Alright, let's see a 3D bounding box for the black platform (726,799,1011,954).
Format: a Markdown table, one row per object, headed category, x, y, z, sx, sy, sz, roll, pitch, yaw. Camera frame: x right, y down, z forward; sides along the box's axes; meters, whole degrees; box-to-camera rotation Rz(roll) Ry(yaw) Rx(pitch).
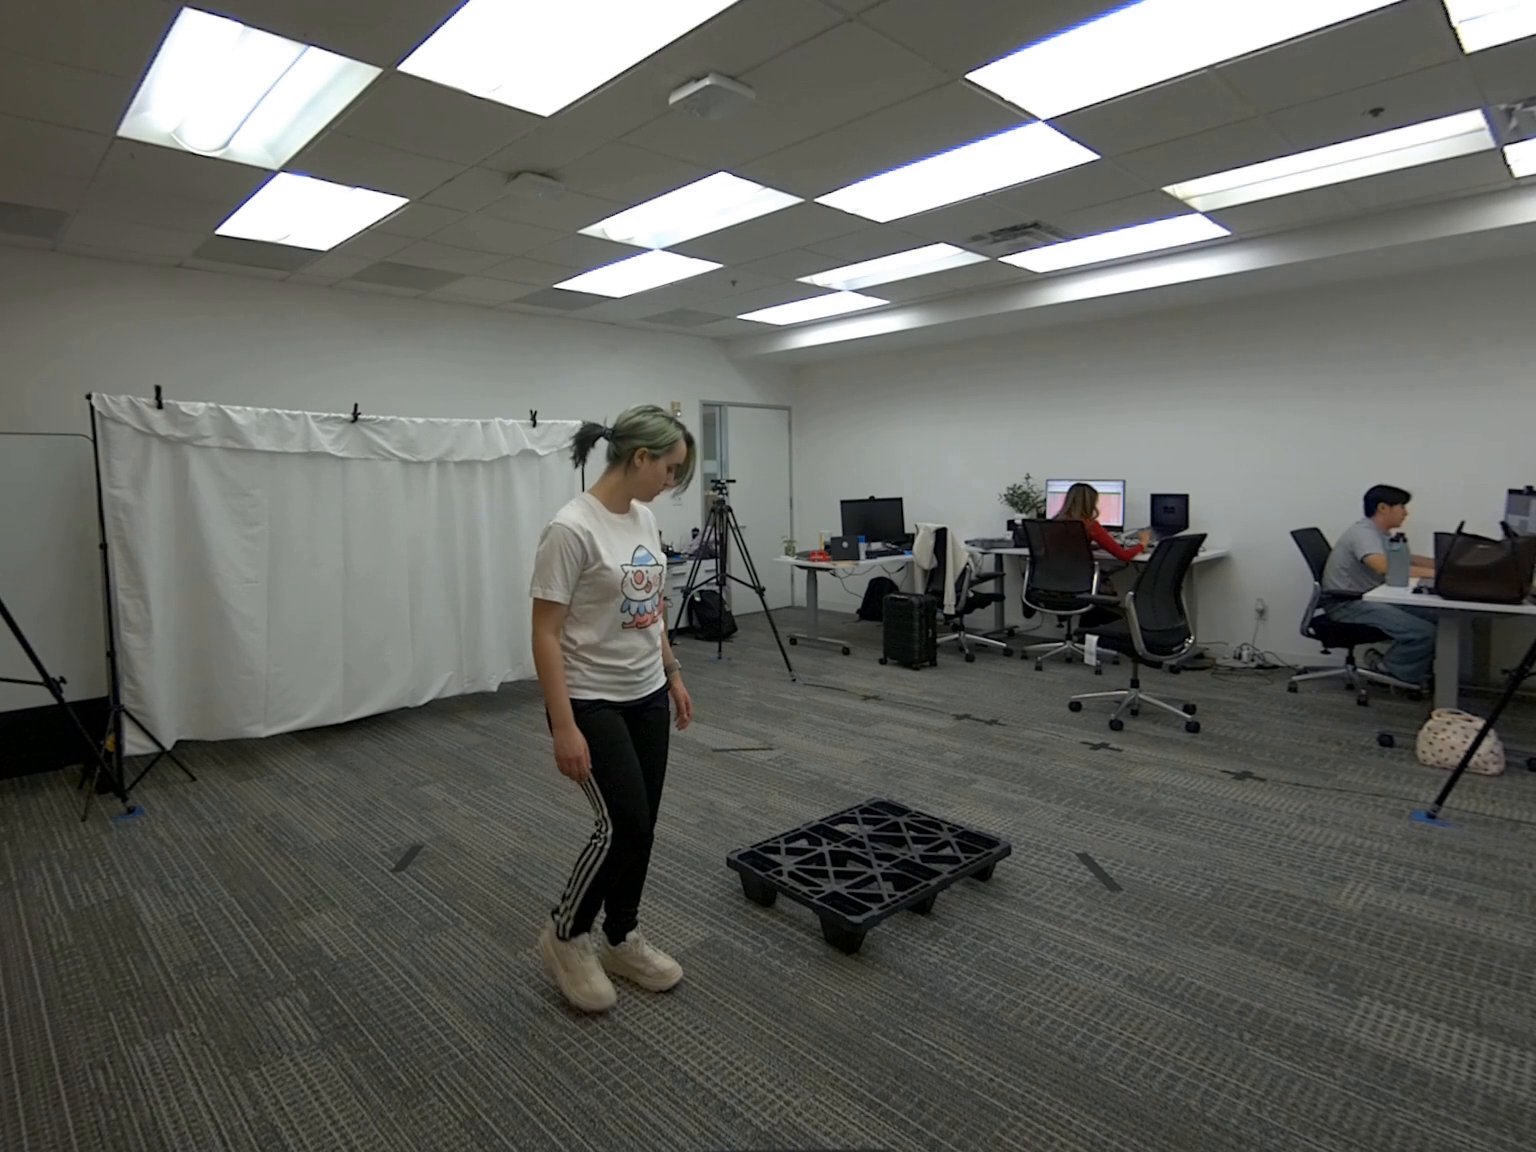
| category | x | y | z | sx | sy | sz | roll | pitch | yaw |
| --- | --- | --- | --- | --- | --- | --- | --- | --- | --- |
| black platform | 0.354 | 0.996 | 2.909 | 0.785 | 0.142 | 0.624 | -7 | 9 | -41 |
